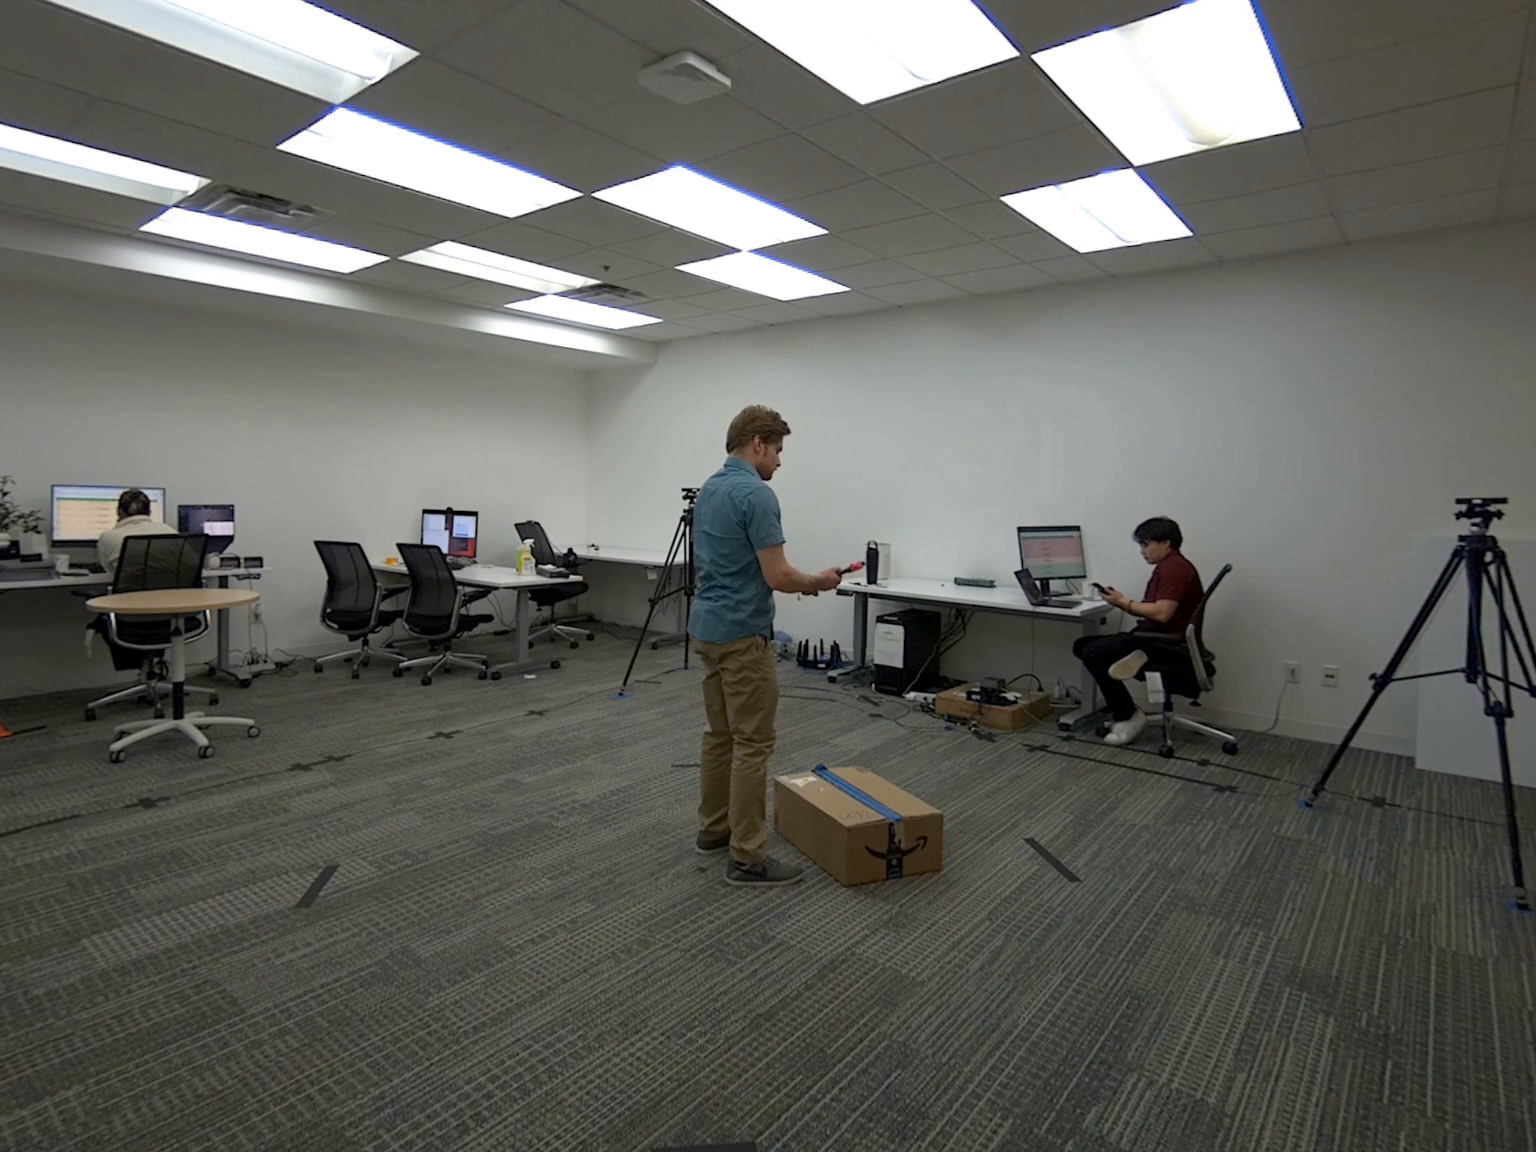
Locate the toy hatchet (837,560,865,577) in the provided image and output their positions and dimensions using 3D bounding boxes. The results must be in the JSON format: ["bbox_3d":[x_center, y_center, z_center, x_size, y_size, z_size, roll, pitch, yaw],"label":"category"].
[{"bbox_3d":[0.241,0.002,3.228,0.274,0.030,0.128,-25,-5,30],"label":"toy hatchet"}]
